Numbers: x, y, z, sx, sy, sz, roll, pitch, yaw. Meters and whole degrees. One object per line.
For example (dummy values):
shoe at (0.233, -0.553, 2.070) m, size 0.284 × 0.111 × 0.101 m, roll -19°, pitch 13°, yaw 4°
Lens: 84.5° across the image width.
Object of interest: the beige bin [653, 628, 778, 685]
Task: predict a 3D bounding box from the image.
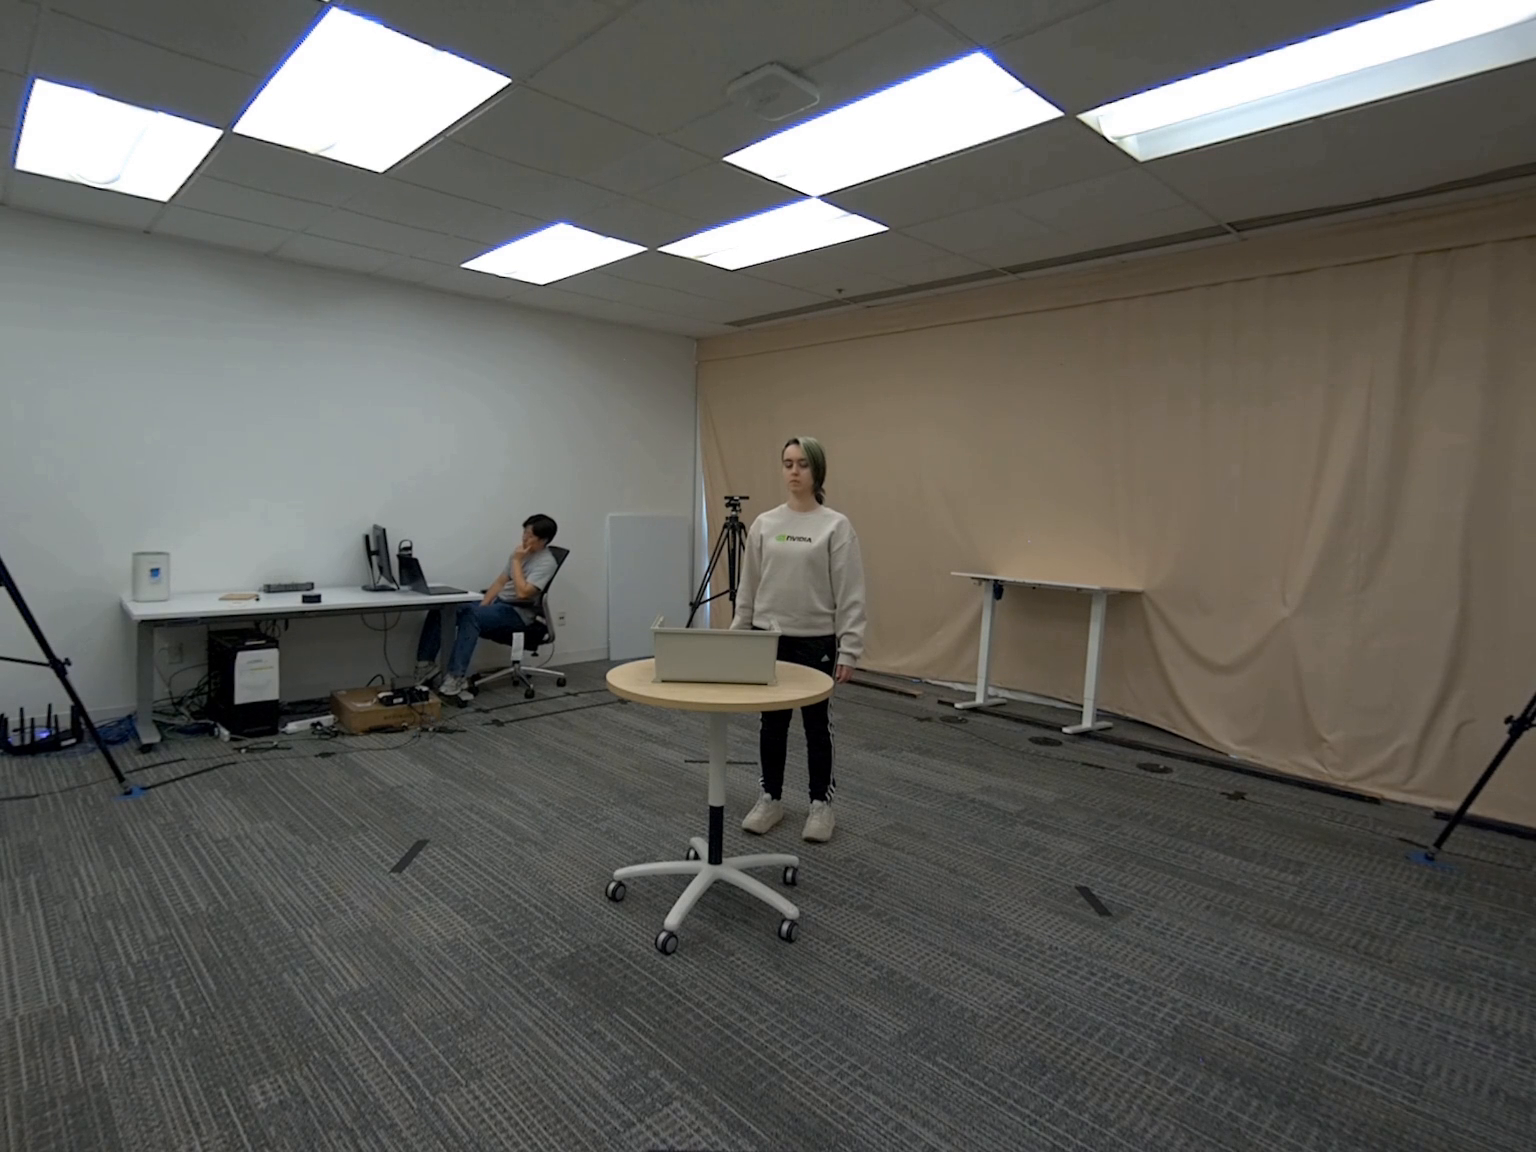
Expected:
beige bin at (-0.184, 0.254, 2.902) m, size 0.422 × 0.188 × 0.379 m, roll 2°, pitch 4°, yaw -2°
